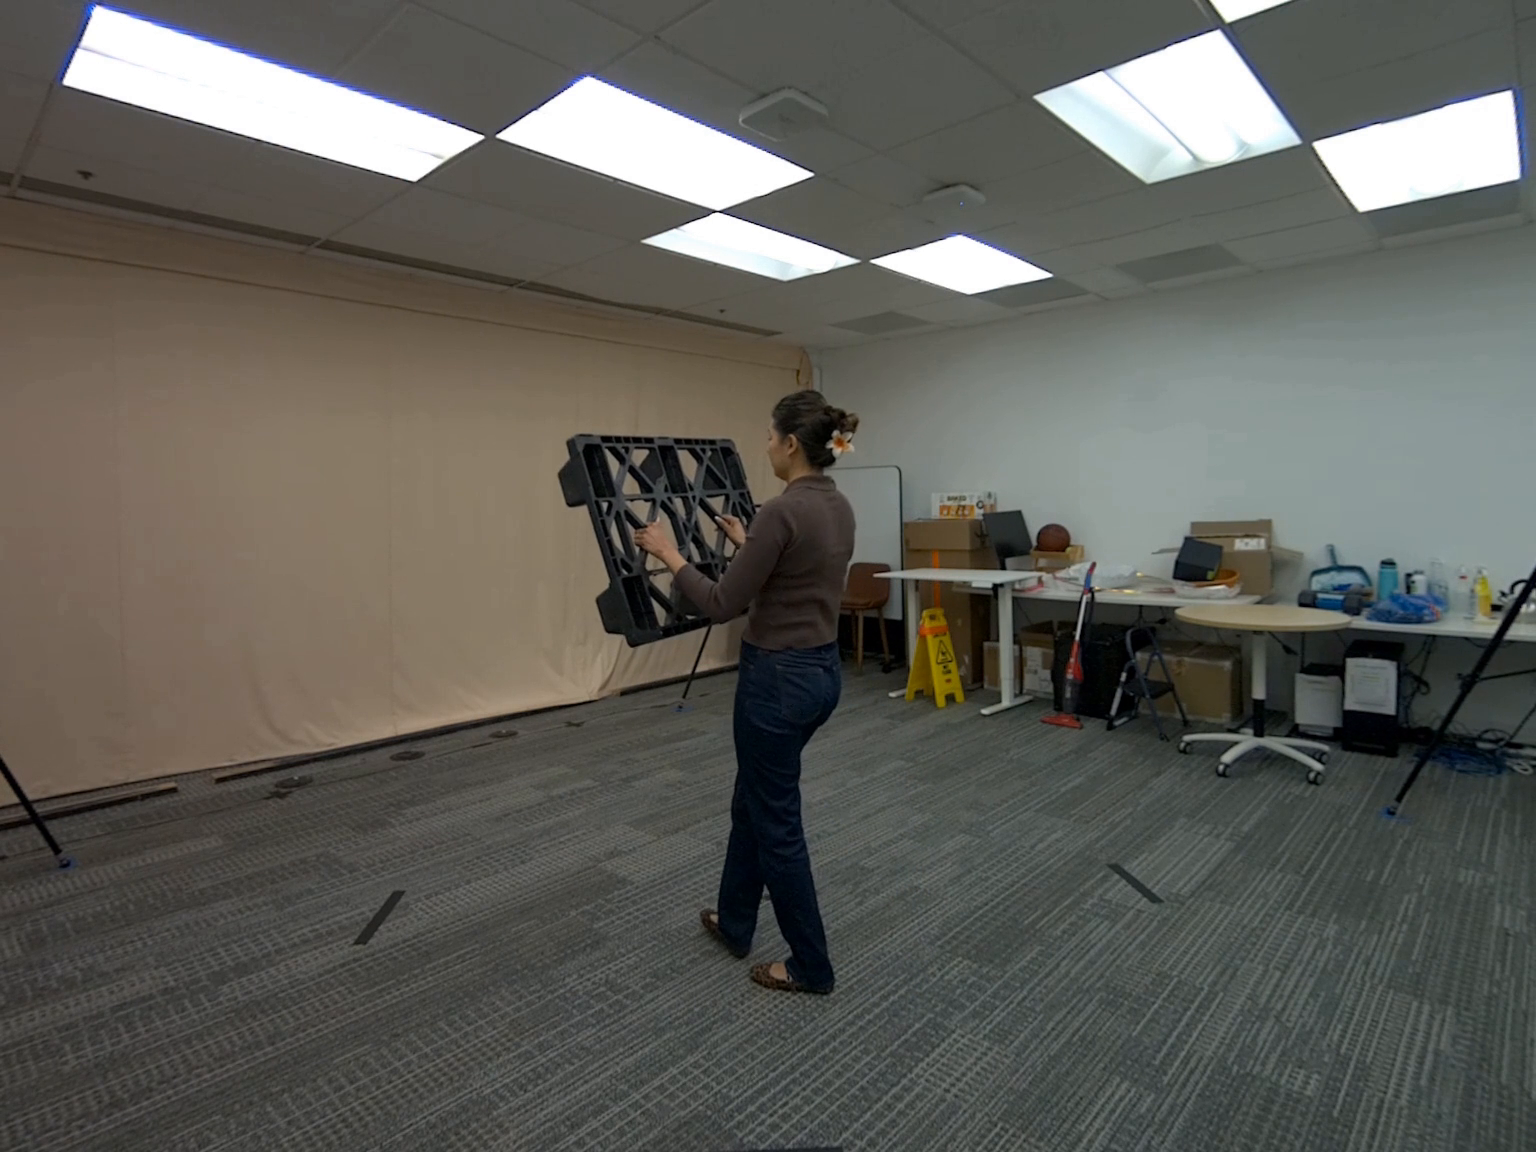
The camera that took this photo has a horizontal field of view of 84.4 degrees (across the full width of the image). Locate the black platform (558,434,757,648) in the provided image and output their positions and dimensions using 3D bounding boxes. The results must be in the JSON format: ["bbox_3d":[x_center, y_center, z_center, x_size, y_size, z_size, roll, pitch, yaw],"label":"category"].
[{"bbox_3d":[-0.276,-0.132,2.597,0.146,0.609,0.785,-23,-6,32],"label":"black platform"}]
